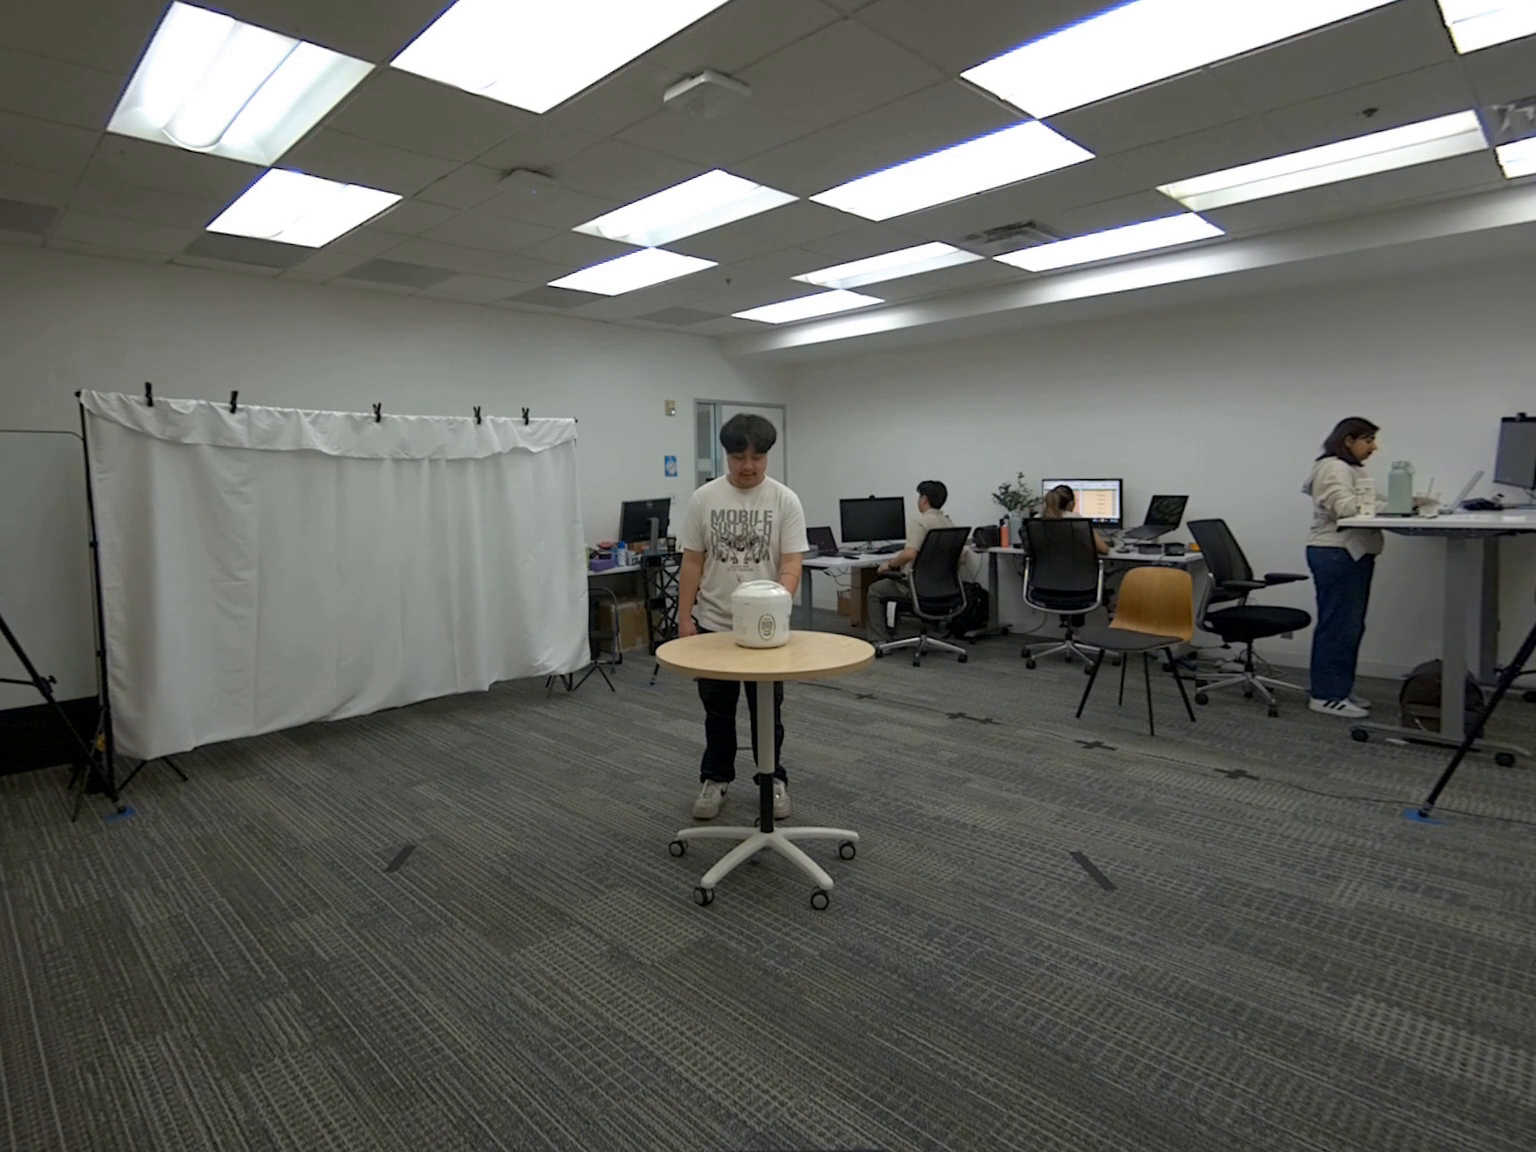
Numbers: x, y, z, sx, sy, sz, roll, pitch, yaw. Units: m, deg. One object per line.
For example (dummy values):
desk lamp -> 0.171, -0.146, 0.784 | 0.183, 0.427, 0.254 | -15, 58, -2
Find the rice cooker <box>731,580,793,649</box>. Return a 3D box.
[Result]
rice cooker -> -0.025, 0.132, 3.076 | 0.218, 0.232, 0.220 | -1, 5, -10
